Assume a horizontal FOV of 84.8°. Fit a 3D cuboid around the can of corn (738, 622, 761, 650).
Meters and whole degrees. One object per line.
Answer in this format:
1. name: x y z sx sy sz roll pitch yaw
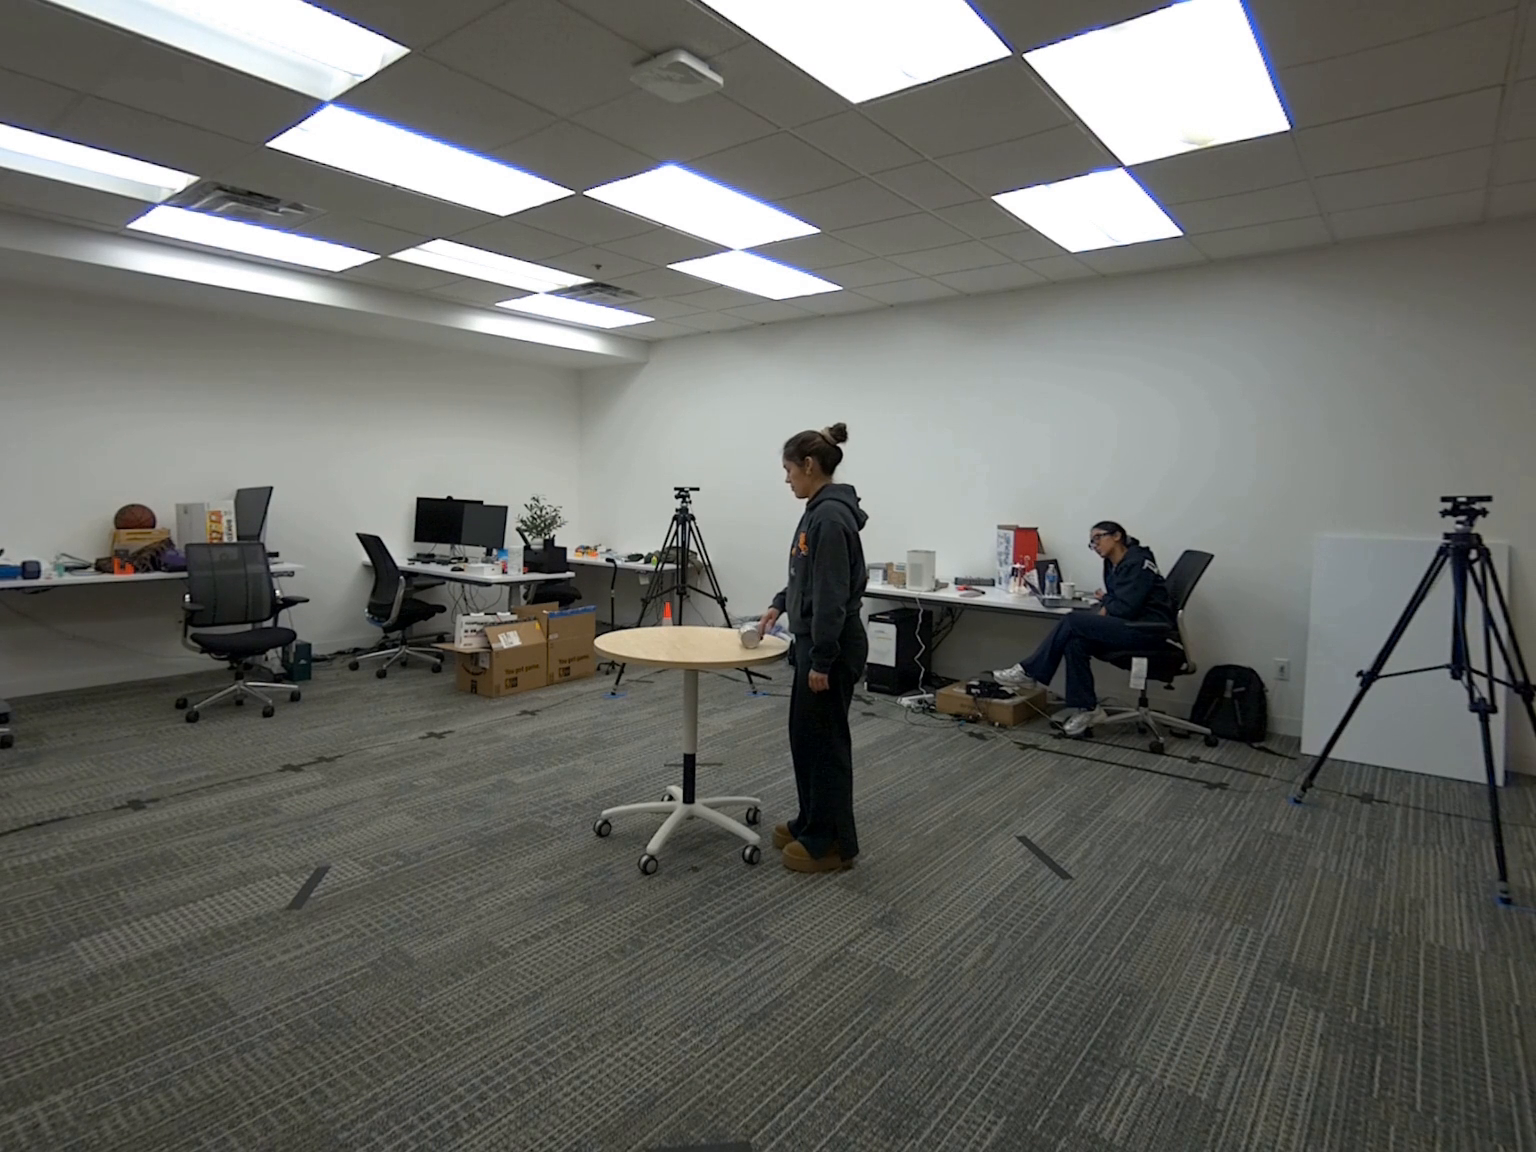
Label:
1. can of corn: -0.085 0.230 3.305 0.074 0.074 0.112 0 8 -7
